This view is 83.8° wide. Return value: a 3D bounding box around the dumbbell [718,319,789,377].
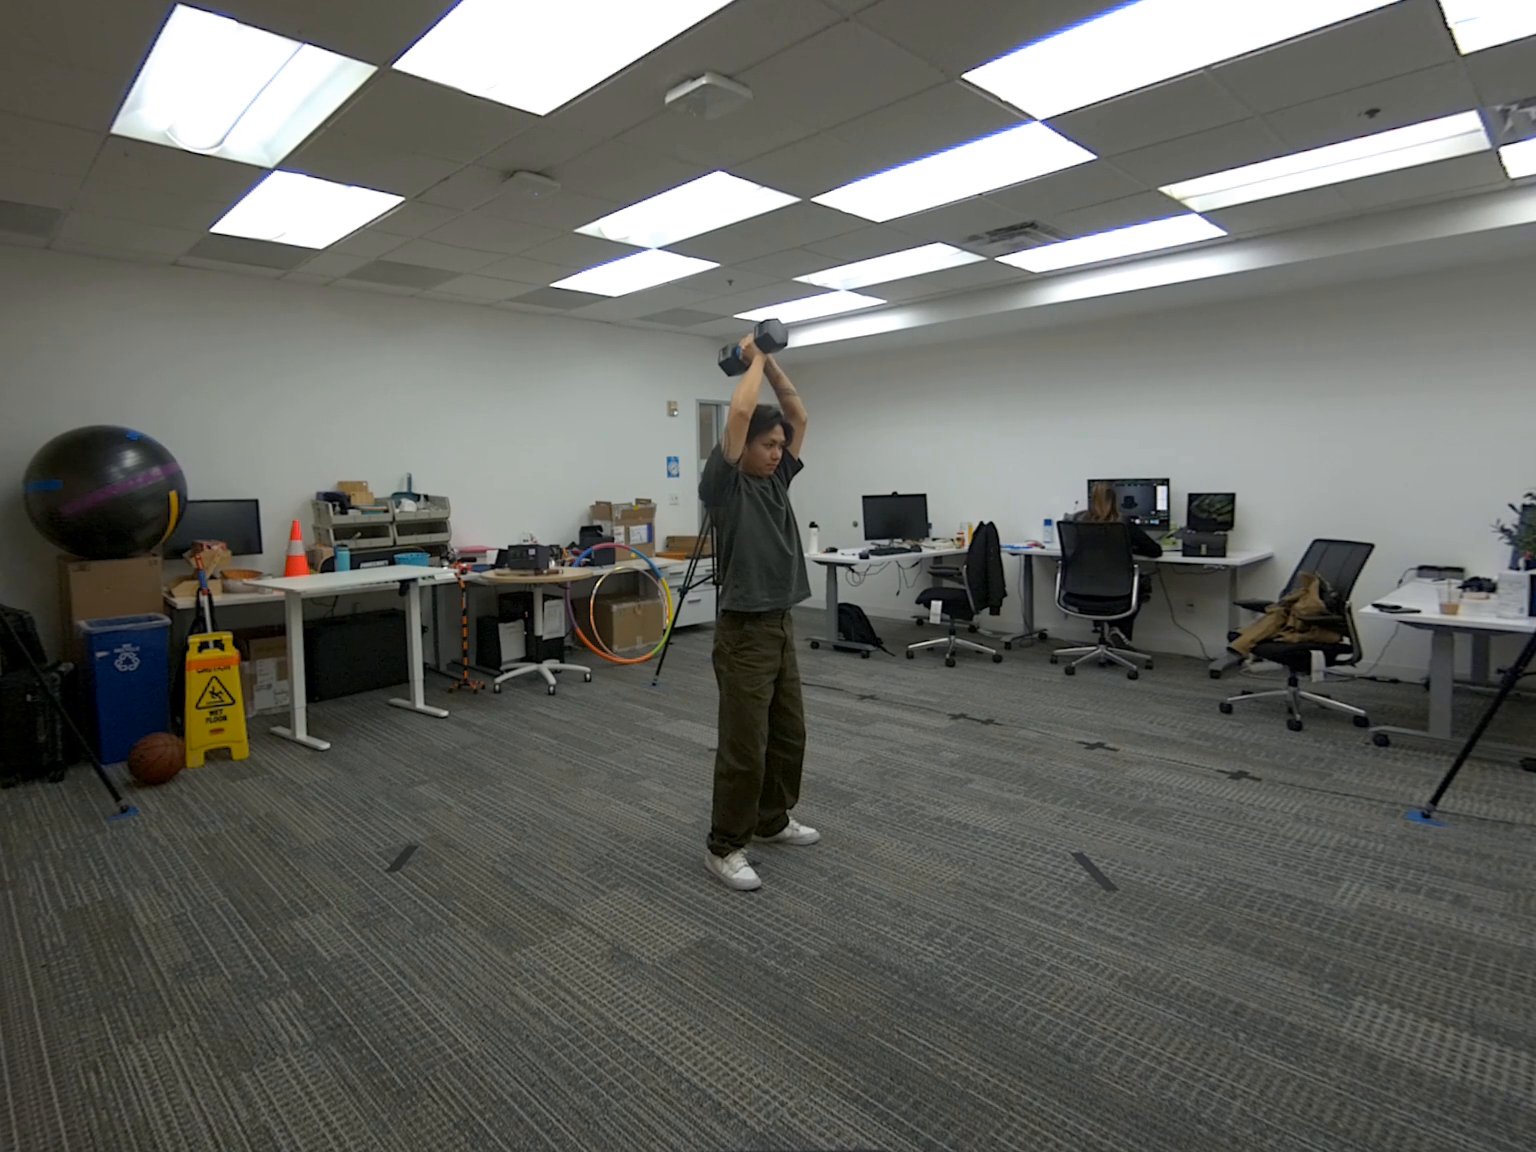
[{"bbox_3d":[-0.049,-0.824,3.074,0.105,0.125,0.299,21,-24,-36],"label":"dumbbell"}]
